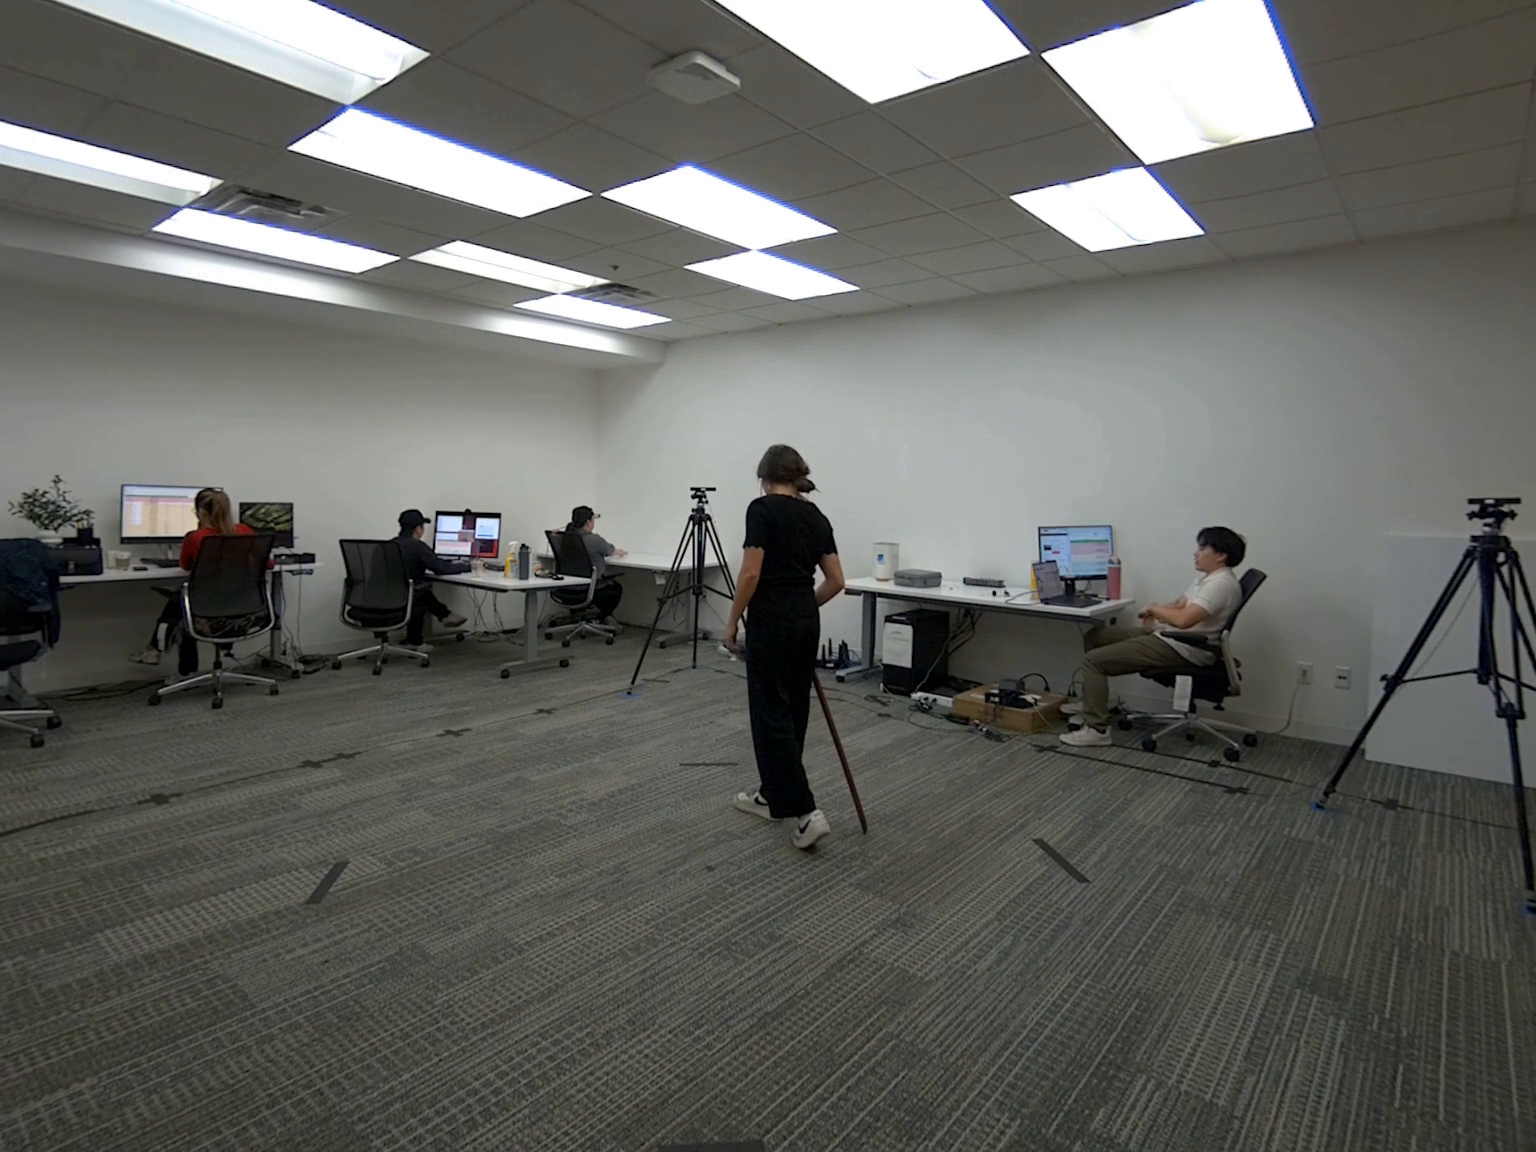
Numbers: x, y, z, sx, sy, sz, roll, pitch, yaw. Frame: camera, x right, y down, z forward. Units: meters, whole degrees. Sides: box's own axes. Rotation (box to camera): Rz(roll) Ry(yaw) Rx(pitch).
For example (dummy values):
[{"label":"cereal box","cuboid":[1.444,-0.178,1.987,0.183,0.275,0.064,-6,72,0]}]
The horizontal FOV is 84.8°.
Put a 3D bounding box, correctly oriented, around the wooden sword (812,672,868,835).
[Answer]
[{"label":"wooden sword","cuboid":[0.246,0.579,3.593,0.024,1.046,0.049,-25,-18,22]}]
